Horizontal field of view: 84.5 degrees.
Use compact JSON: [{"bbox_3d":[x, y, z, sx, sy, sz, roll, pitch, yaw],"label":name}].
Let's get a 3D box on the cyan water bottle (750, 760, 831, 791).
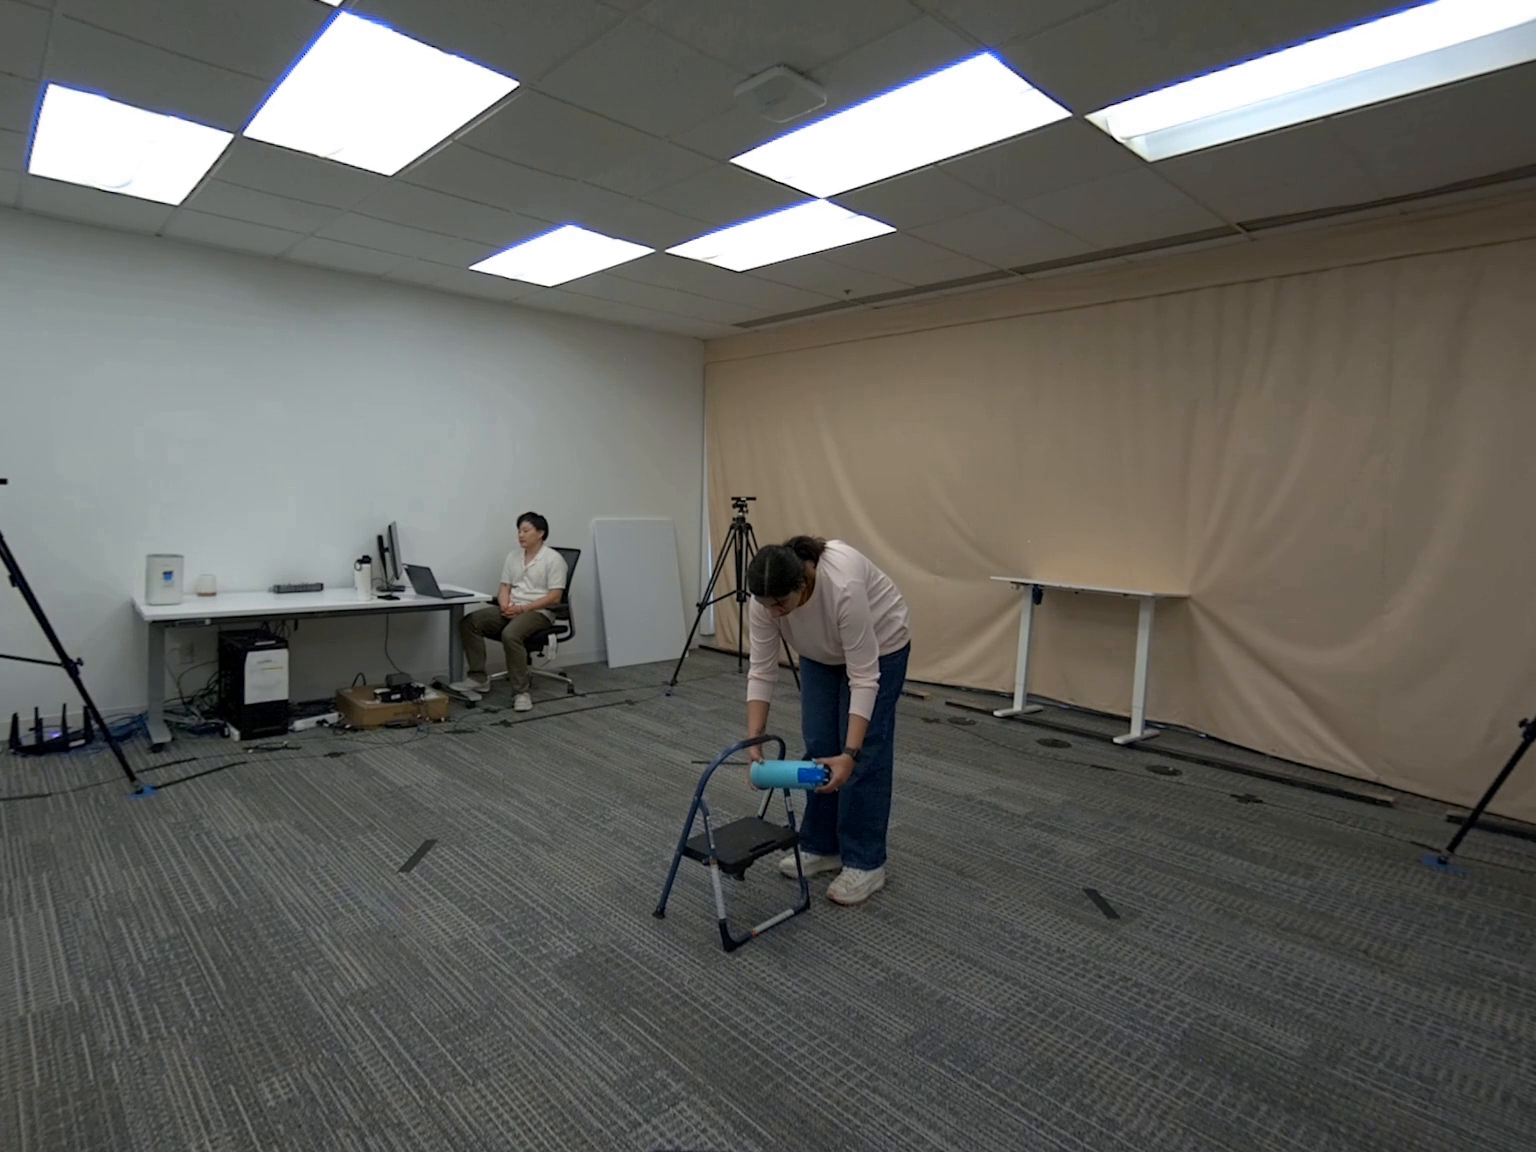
[{"bbox_3d":[0.074,0.652,2.732,0.289,0.092,0.090,-4,1,31],"label":"cyan water bottle"}]
